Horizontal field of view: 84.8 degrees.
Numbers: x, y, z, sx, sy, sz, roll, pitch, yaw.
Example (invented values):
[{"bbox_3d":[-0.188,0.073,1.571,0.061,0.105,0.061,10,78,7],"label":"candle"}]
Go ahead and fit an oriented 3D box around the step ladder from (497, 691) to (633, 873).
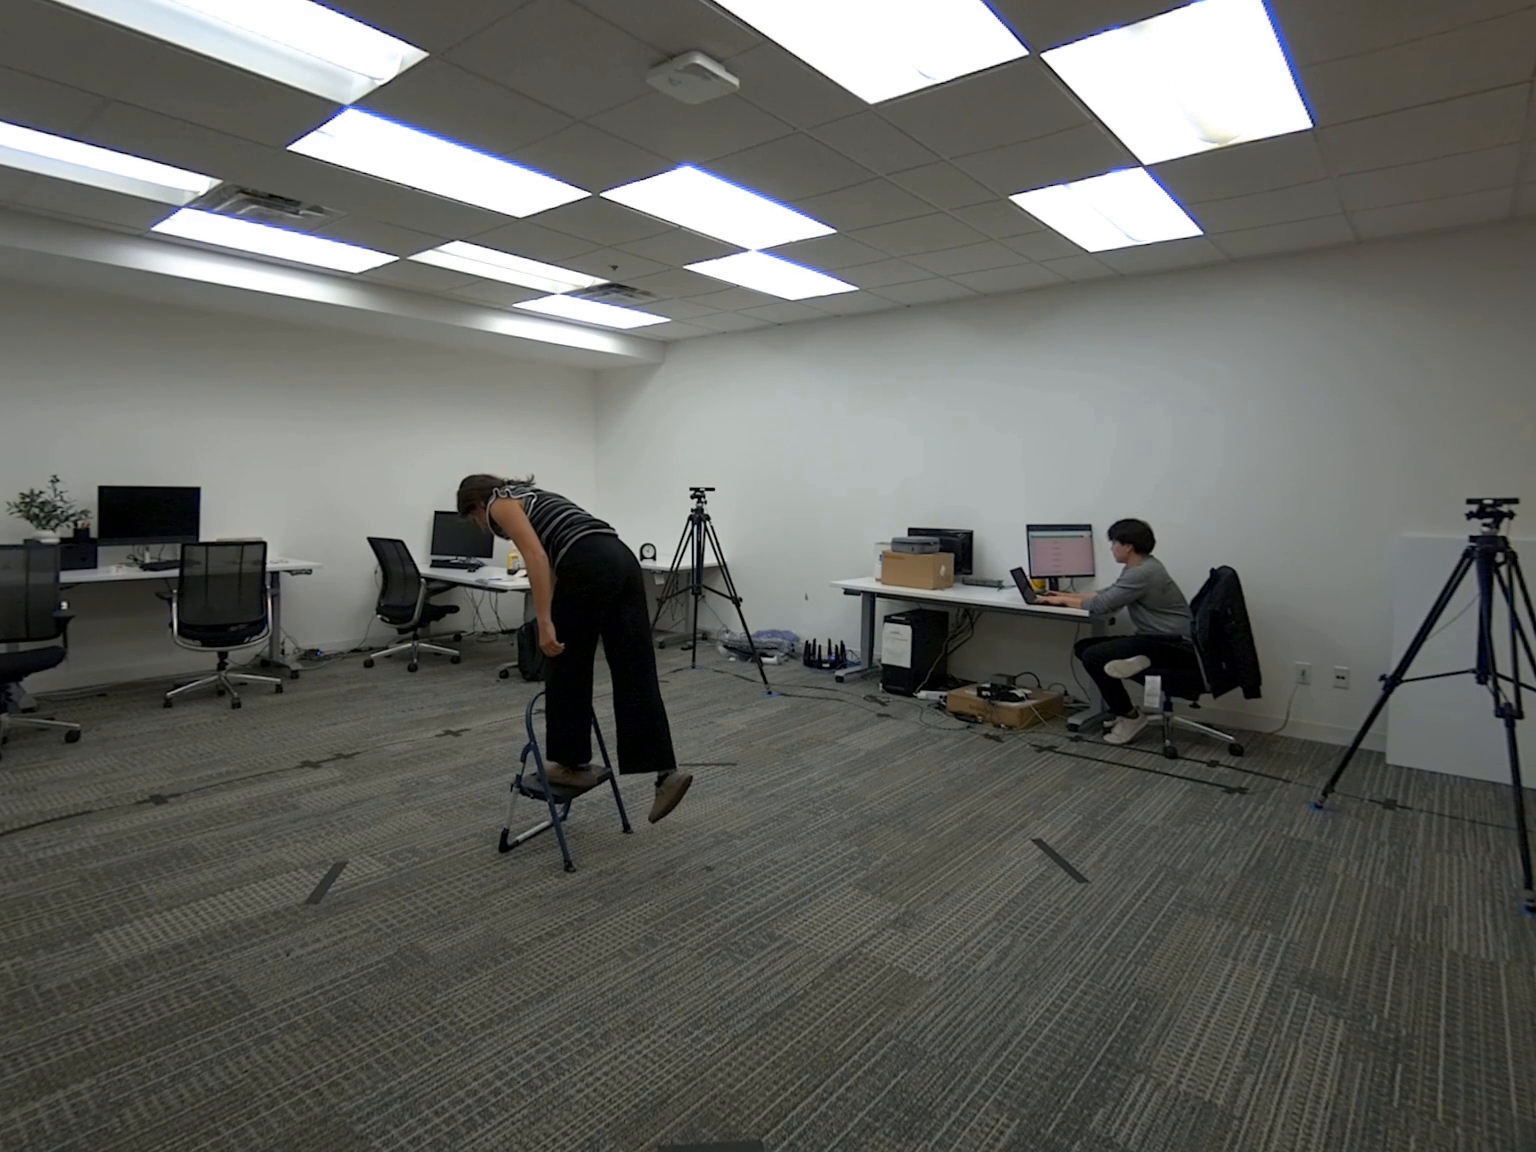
[{"bbox_3d":[-0.789,0.736,3.311,0.358,0.605,0.421,3,3,24],"label":"step ladder"}]
